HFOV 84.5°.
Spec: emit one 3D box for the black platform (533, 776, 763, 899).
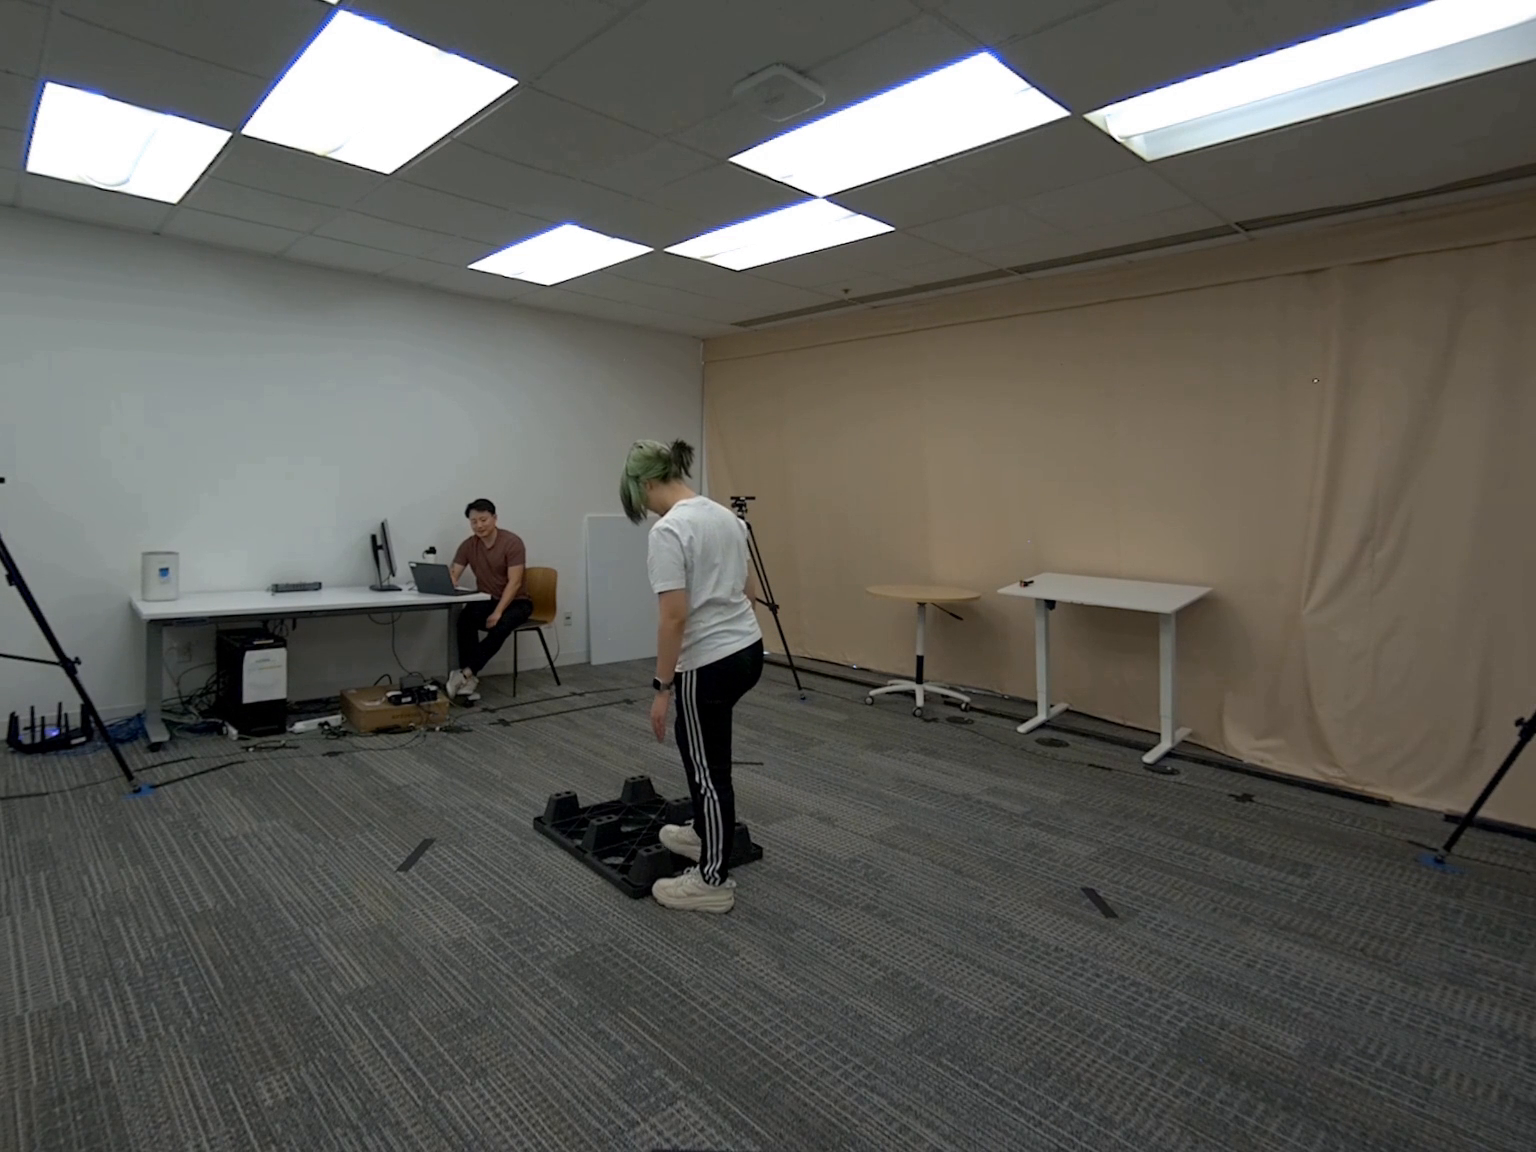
[{"bbox_3d":[-0.498,1.007,3.384,0.591,0.143,0.826,-4,7,-40],"label":"black platform"}]
